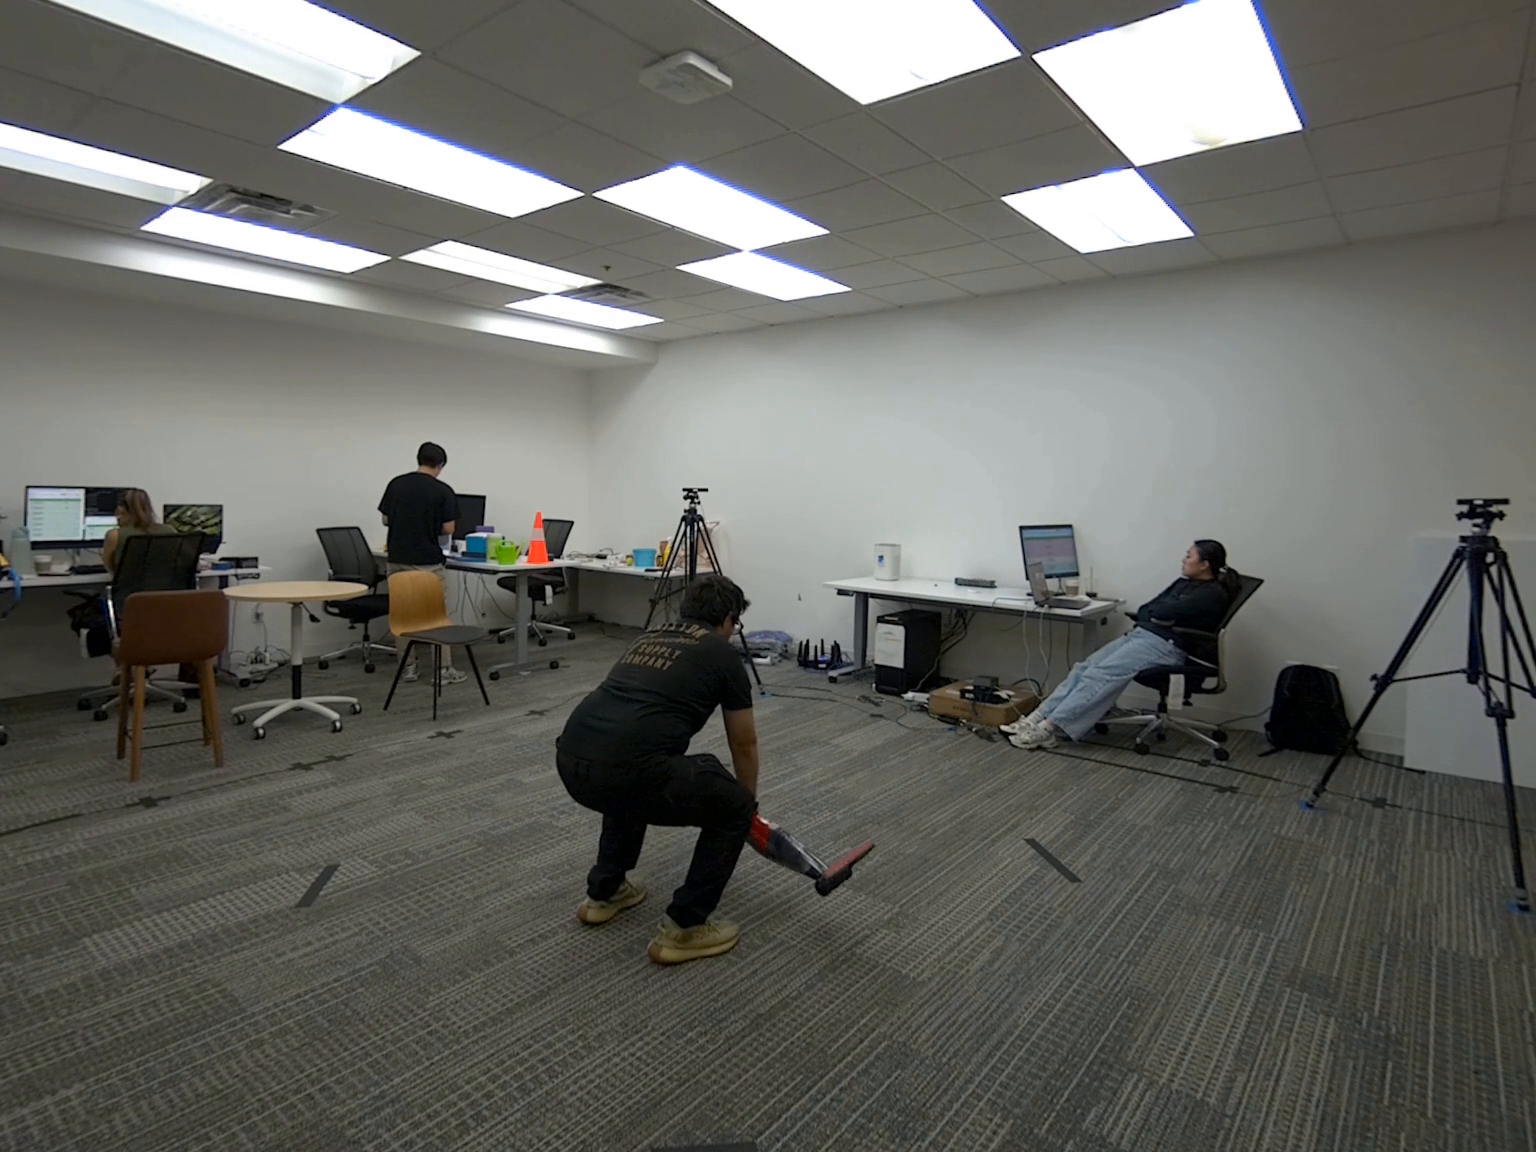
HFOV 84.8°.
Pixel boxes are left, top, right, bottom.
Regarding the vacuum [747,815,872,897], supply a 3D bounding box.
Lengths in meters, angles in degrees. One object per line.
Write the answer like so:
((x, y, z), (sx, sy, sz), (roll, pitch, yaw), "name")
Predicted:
((-0.172, 0.842, 3.033), (1.087, 0.142, 0.247), (10, 22, 42), "vacuum")
